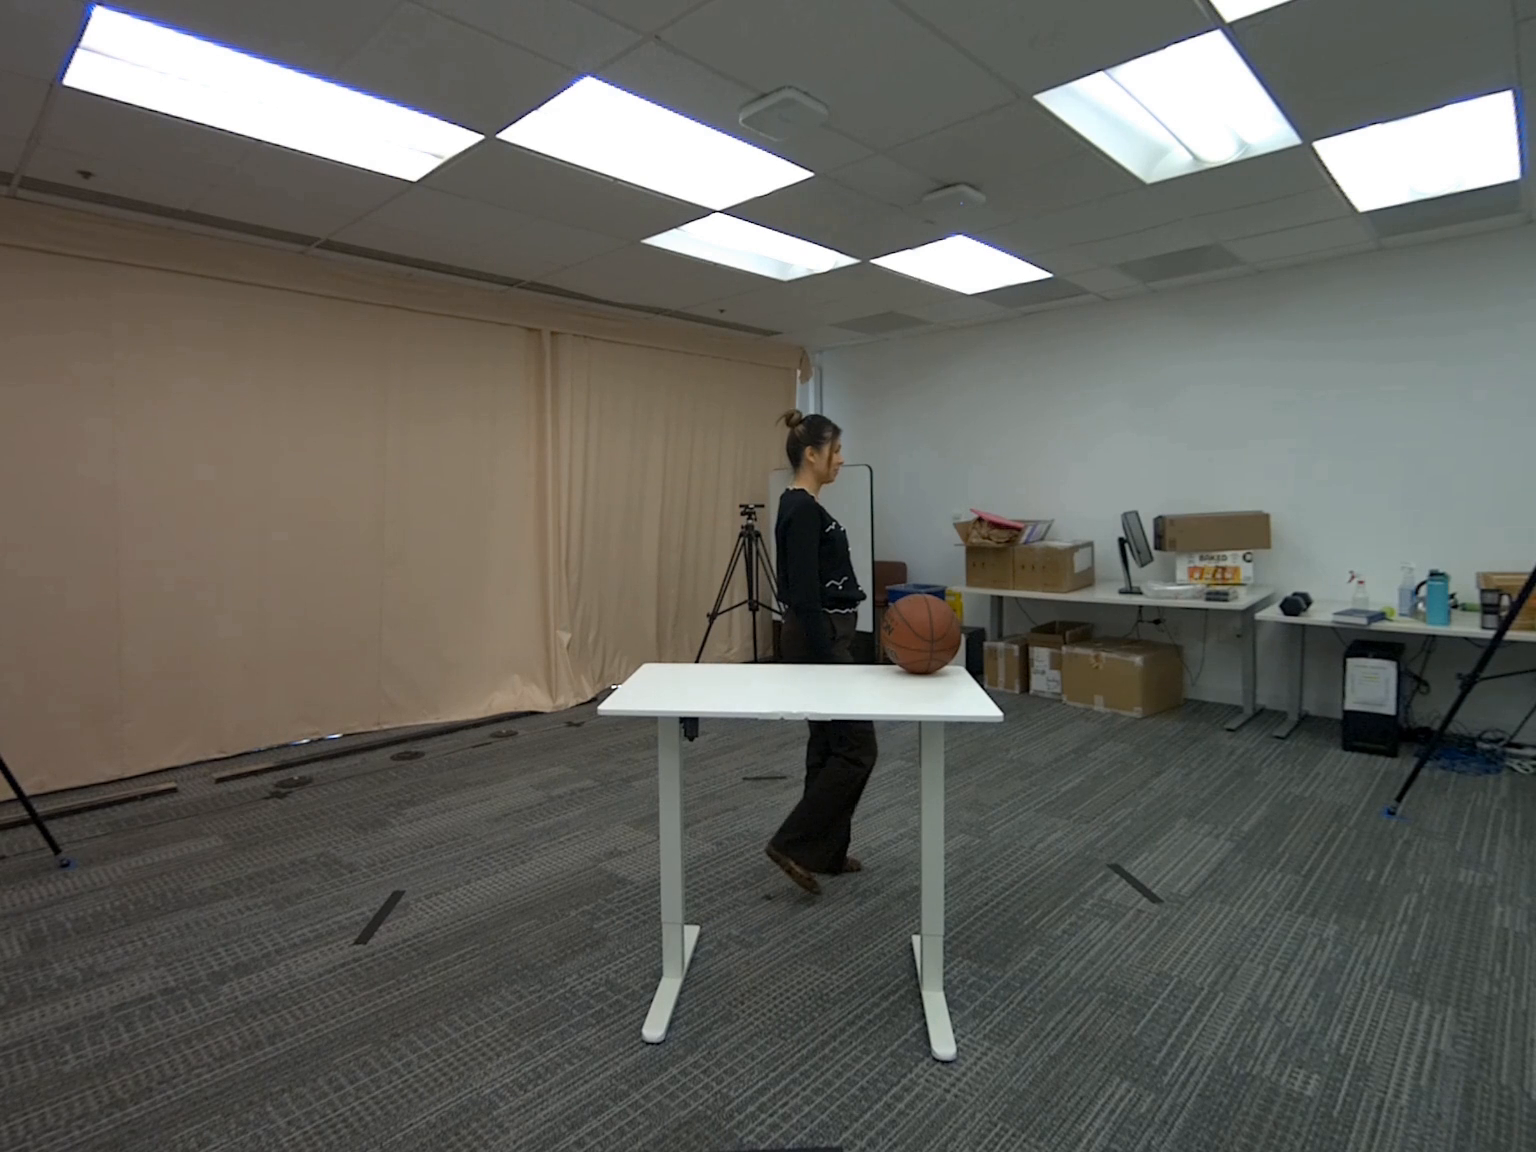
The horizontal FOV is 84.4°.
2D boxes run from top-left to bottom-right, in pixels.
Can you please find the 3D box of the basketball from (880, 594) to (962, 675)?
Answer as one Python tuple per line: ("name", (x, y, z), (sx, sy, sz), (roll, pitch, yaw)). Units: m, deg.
("basketball", (0.469, 0.173, 2.520), (0.236, 0.235, 0.237), (-1, 4, -2))
